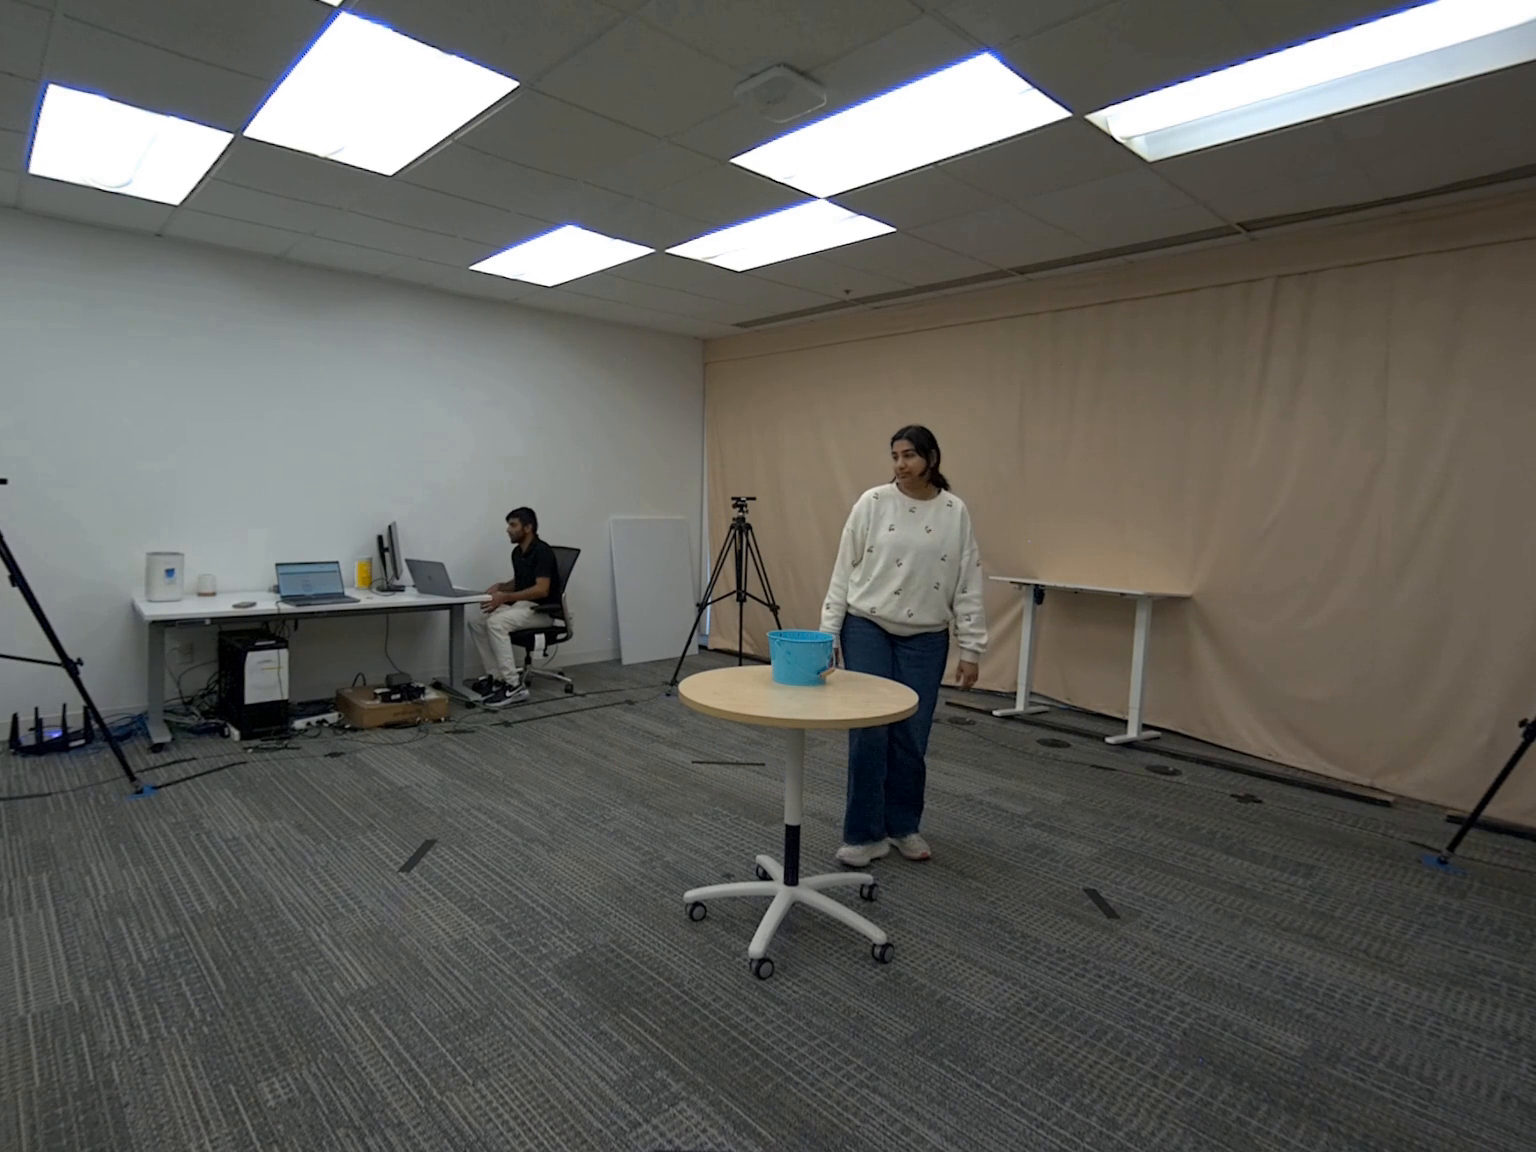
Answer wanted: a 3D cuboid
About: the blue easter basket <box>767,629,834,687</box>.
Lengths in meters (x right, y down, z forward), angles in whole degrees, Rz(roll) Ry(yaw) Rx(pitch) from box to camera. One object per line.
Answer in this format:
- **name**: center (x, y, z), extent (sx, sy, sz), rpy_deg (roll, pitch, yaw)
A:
- **blue easter basket**: center (0.106, 0.284, 2.835), extent (0.243, 0.155, 0.244), rpy_deg (1, 4, -1)
